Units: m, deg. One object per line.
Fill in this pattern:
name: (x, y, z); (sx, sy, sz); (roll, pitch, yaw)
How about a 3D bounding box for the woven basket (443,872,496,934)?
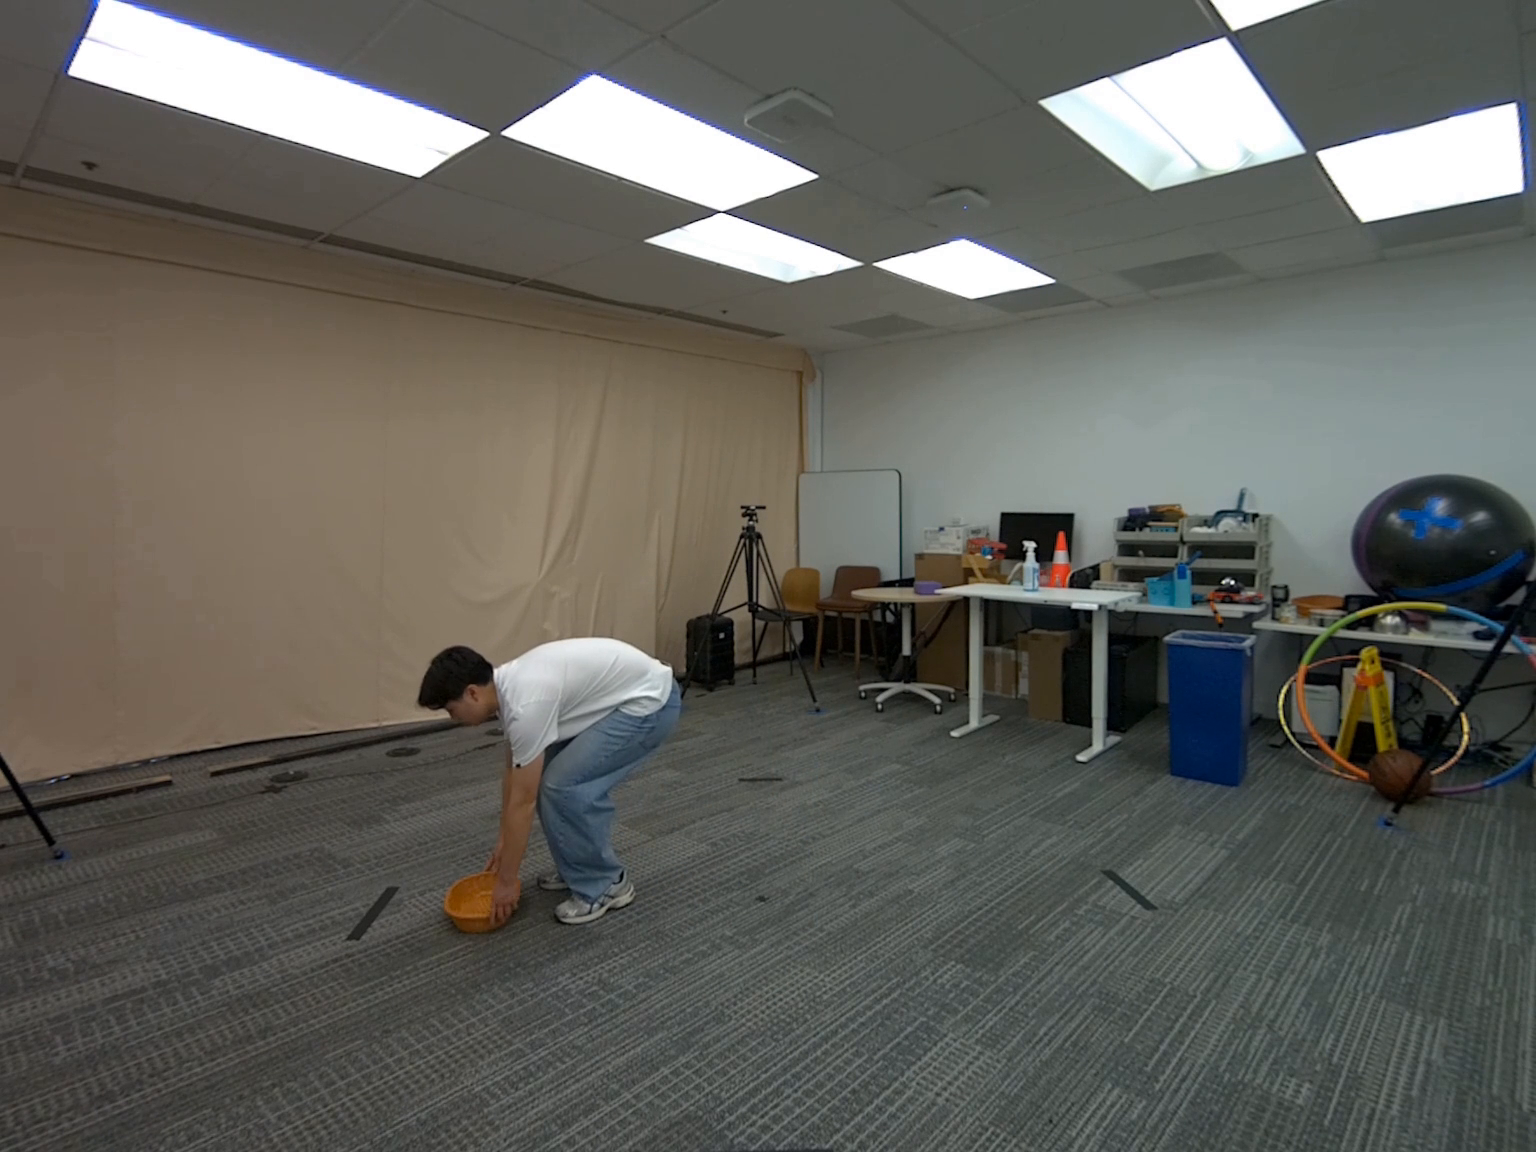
woven basket: (-0.981, 1.117, 2.892); (0.249, 0.073, 0.356); (-2, 4, -13)
